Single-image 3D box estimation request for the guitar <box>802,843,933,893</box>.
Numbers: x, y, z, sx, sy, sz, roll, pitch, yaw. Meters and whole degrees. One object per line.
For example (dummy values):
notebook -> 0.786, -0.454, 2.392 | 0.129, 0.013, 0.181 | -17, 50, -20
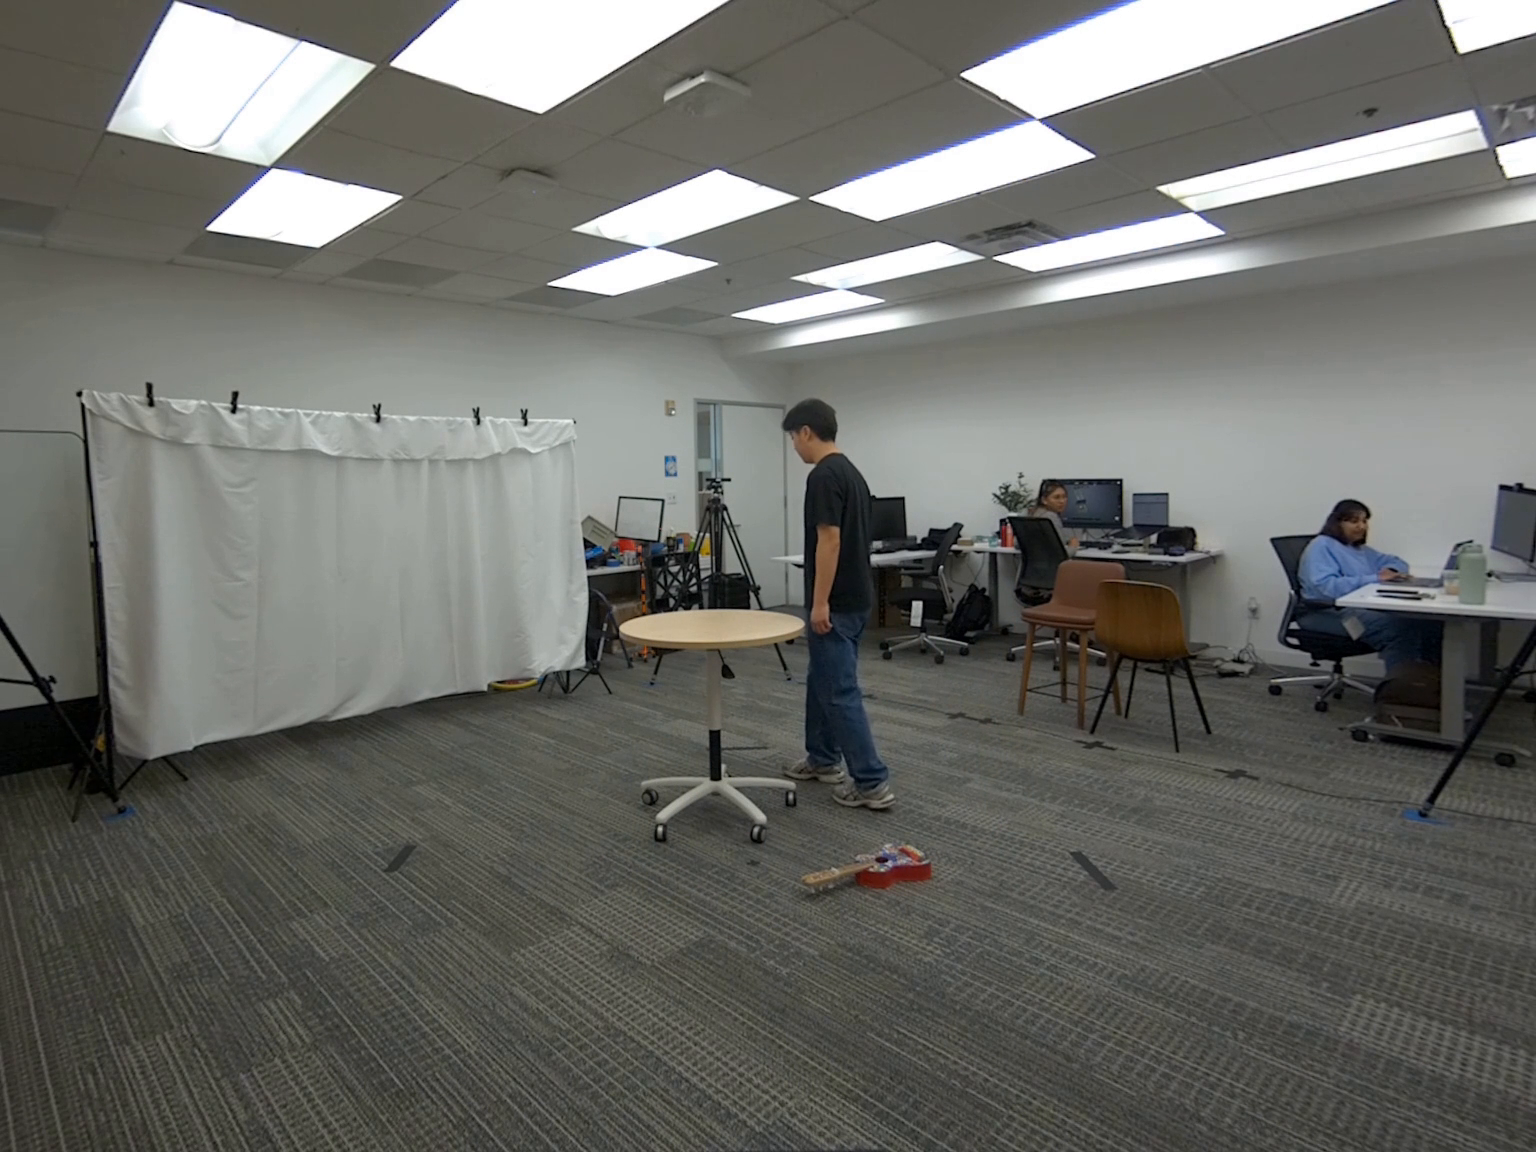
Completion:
guitar -> 0.325, 1.017, 2.971 | 0.489, 0.070, 0.197 | -2, 7, -19
